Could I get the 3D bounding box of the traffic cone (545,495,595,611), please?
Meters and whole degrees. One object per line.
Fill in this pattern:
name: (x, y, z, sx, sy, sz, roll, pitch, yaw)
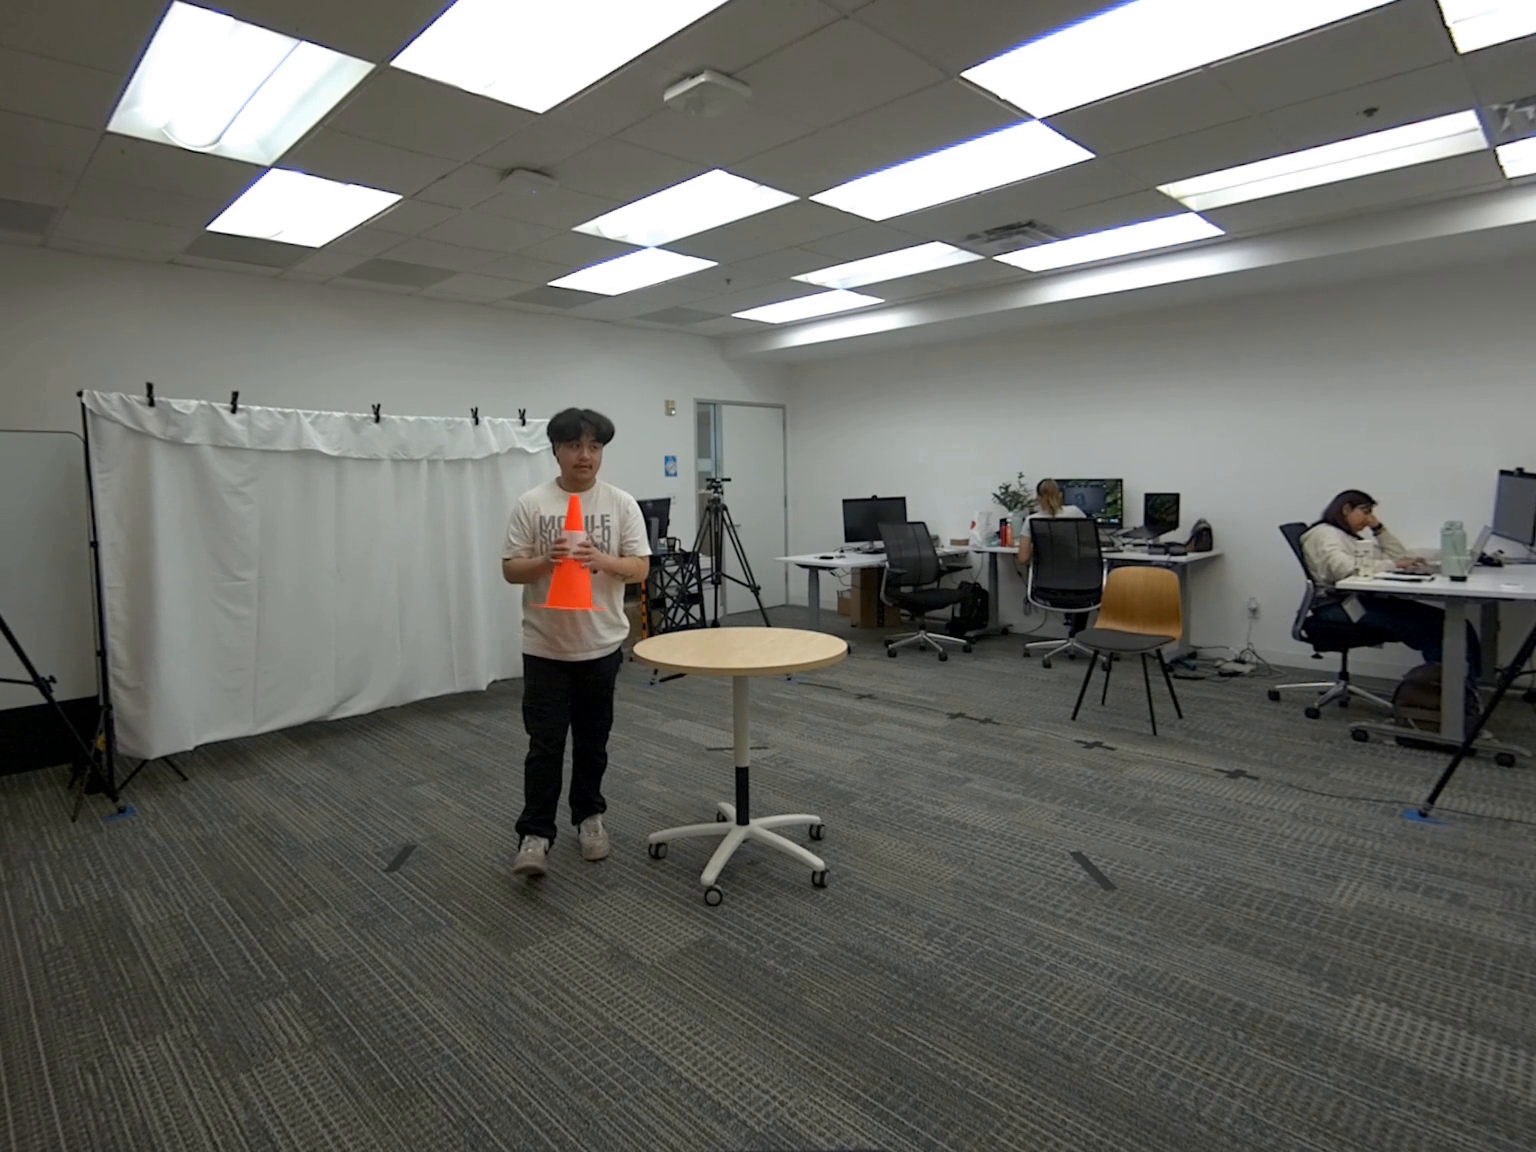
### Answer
traffic cone: (-0.679, -0.080, 2.898, 0.209, 0.383, 0.200, 2, 2, 29)
